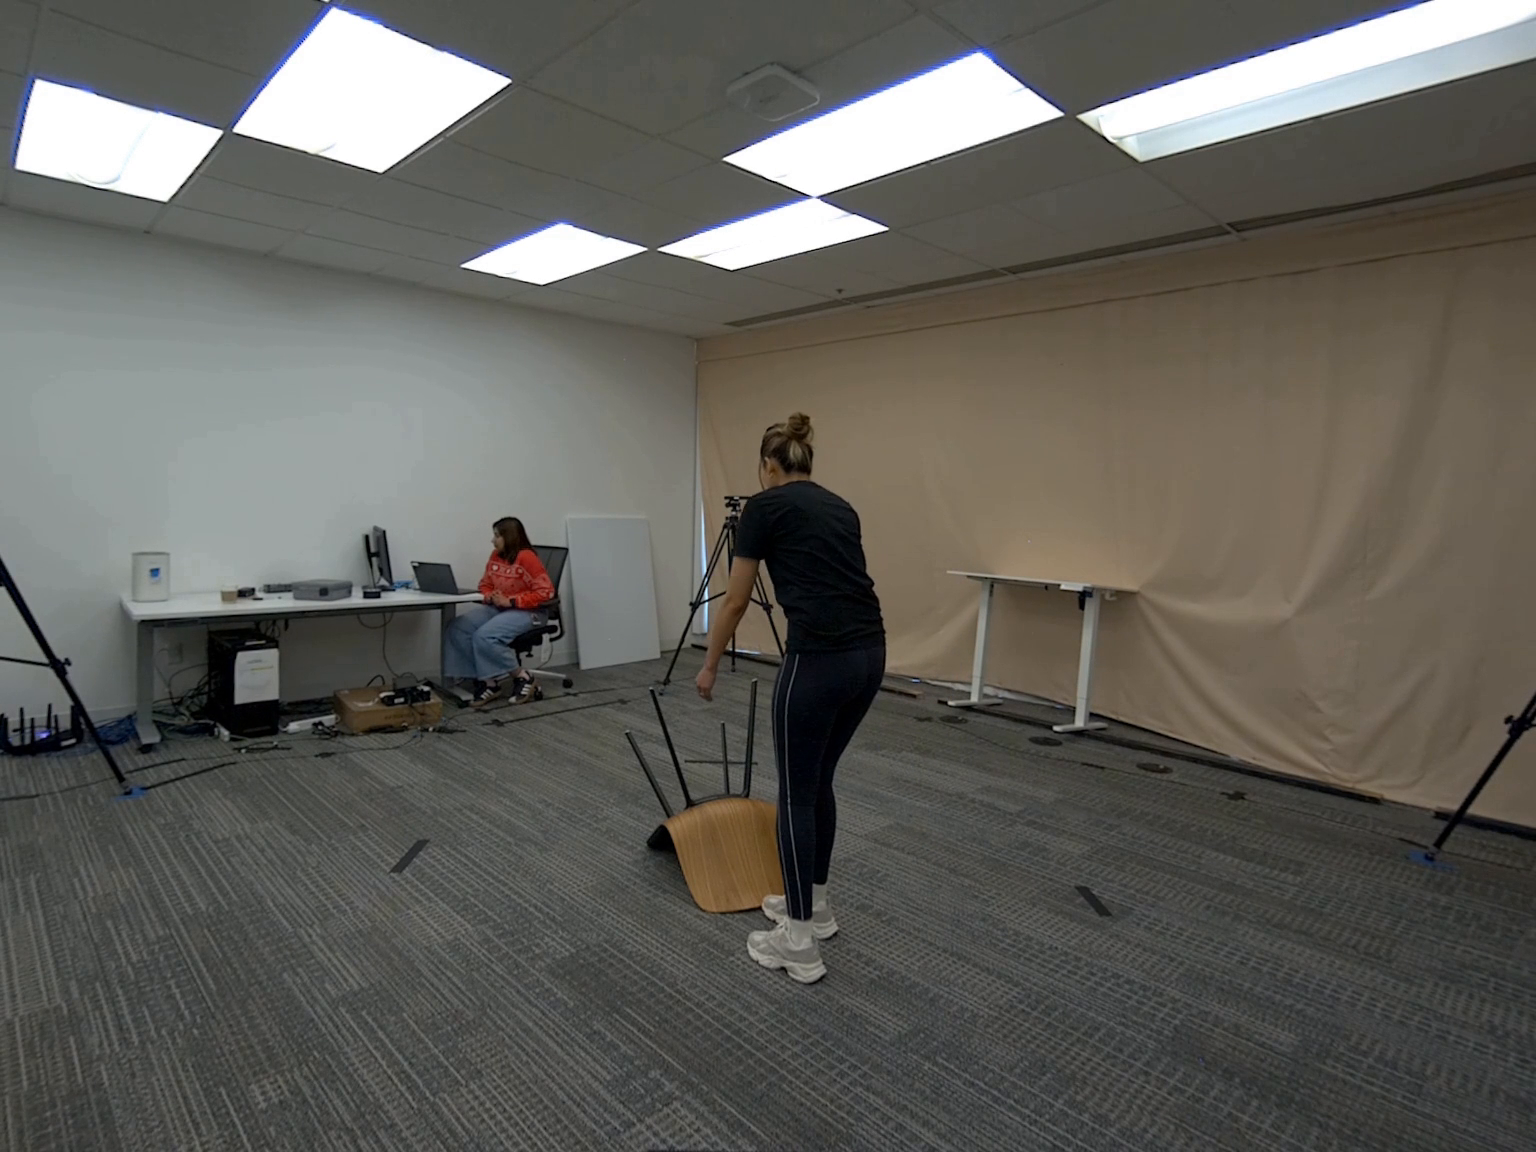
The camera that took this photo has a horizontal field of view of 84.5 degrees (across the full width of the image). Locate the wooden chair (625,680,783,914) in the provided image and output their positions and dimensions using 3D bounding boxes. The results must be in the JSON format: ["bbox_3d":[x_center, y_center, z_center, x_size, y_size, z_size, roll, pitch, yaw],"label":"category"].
[{"bbox_3d":[-0.231,0.914,3.276,0.470,0.900,0.518,-1,-36,-24],"label":"wooden chair"}]
